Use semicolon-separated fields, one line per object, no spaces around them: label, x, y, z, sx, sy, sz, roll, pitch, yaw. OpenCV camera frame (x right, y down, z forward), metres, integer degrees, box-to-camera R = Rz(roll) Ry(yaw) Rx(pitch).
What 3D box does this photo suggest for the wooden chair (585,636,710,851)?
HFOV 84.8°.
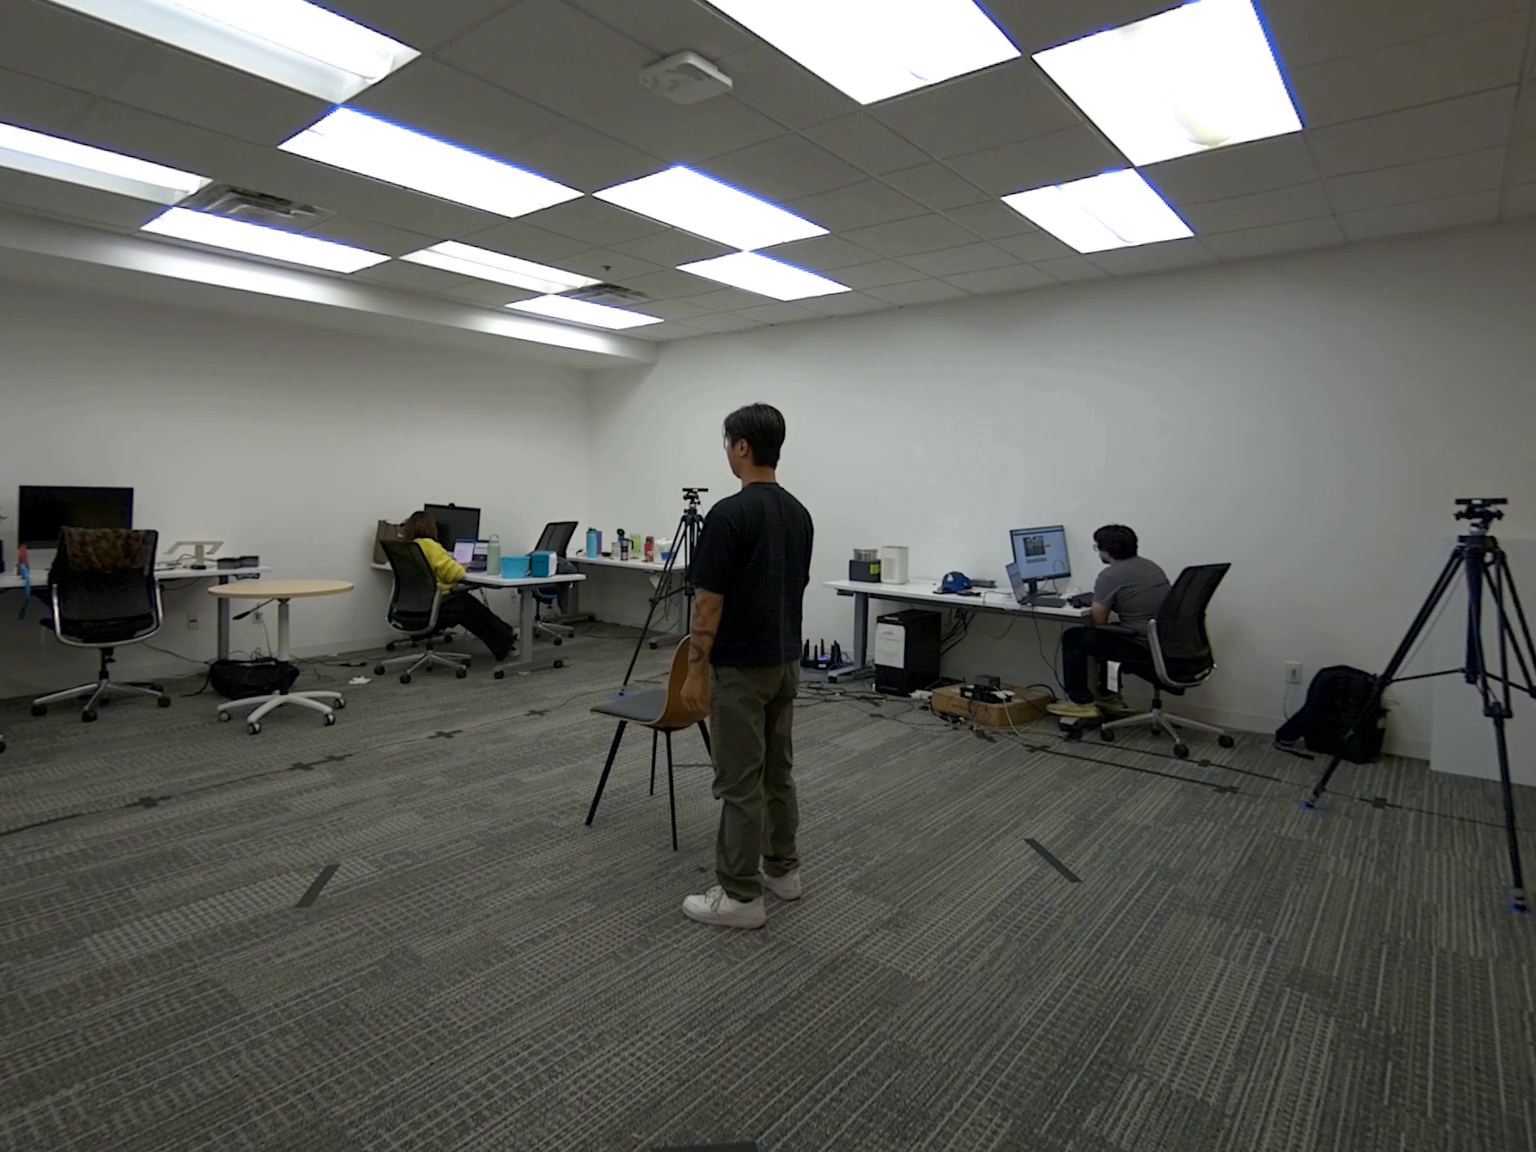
wooden chair;-0.455;0.596;3.542;0.540;0.873;0.466;8;7;30
